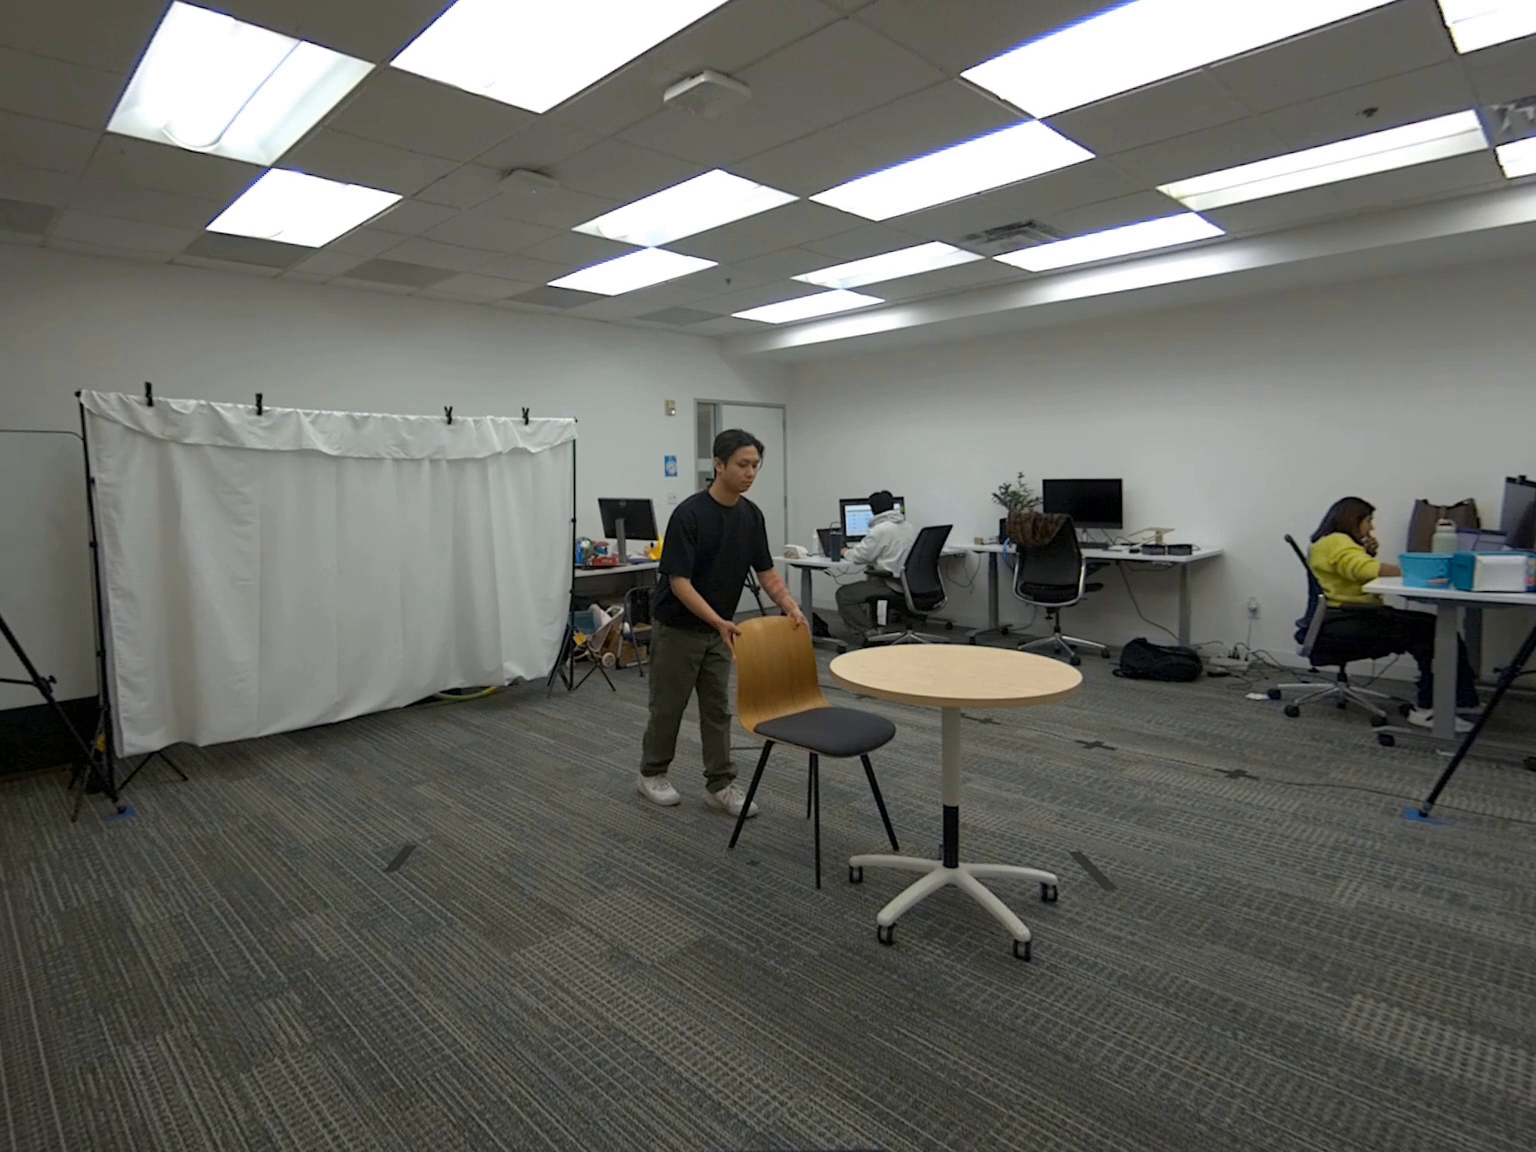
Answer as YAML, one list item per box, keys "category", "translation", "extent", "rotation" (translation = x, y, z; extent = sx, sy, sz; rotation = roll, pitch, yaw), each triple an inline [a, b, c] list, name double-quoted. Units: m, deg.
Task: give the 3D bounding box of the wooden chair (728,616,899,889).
- category: "wooden chair"
  translation: [0.168, 0.602, 3.168]
  extent: [0.465, 0.877, 0.538]
  rotation: [-4, 1, -43]
